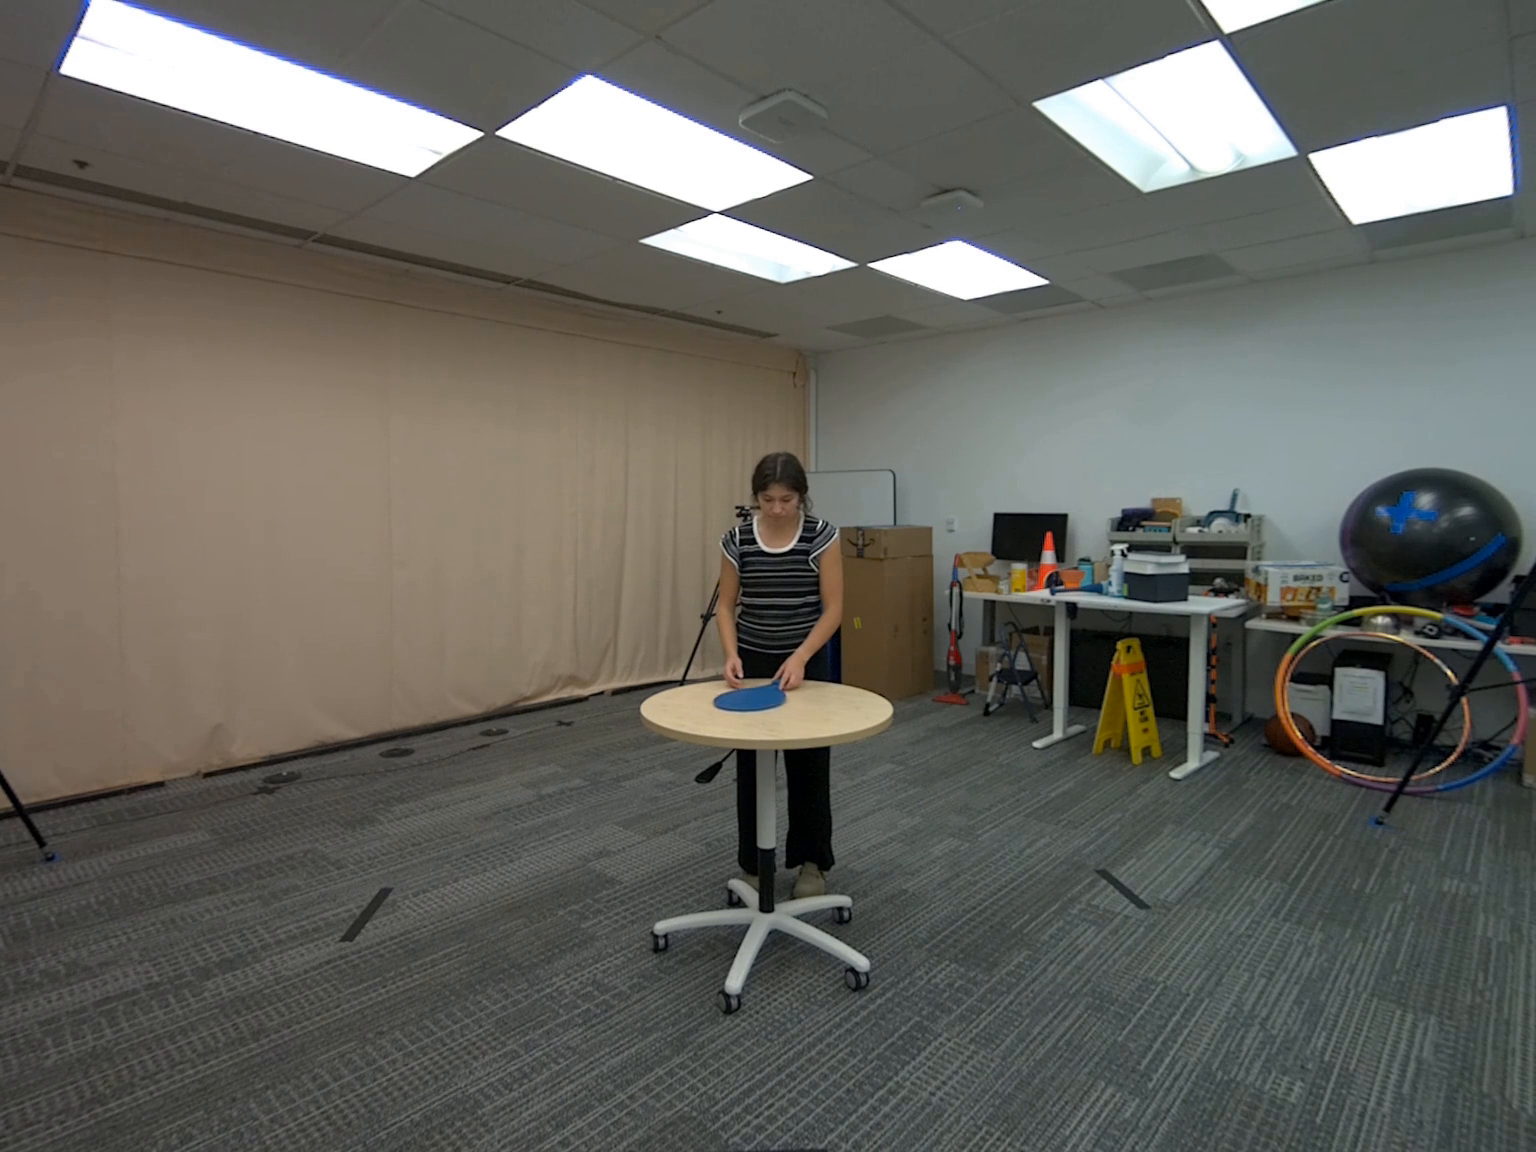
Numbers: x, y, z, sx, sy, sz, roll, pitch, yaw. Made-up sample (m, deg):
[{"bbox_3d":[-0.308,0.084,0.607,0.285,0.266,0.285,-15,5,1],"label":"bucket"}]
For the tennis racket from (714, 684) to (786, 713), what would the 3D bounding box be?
[{"bbox_3d":[-0.021,0.374,2.688,0.219,0.031,0.423,3,7,26],"label":"tennis racket"}]
